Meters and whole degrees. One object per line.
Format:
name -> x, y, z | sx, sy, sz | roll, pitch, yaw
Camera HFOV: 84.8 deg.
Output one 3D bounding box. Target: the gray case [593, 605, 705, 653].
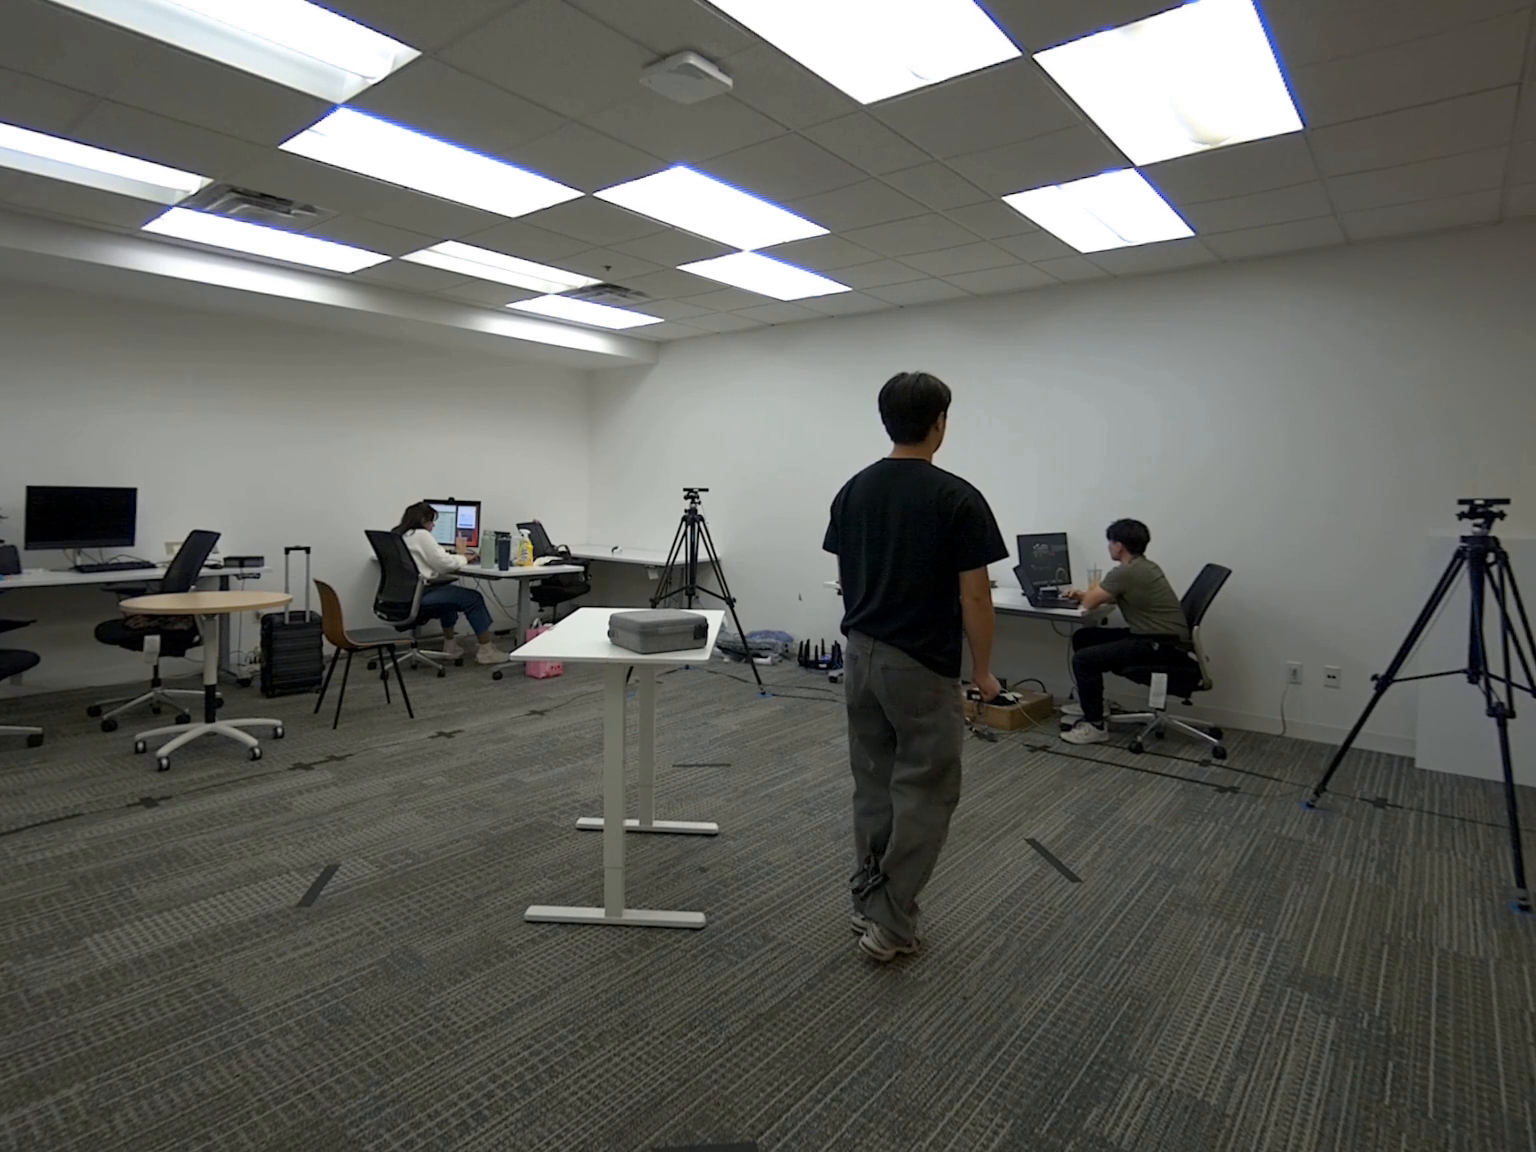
gray case -> -0.393, 0.166, 2.739 | 0.280, 0.103, 0.270 | -1, 5, -26
